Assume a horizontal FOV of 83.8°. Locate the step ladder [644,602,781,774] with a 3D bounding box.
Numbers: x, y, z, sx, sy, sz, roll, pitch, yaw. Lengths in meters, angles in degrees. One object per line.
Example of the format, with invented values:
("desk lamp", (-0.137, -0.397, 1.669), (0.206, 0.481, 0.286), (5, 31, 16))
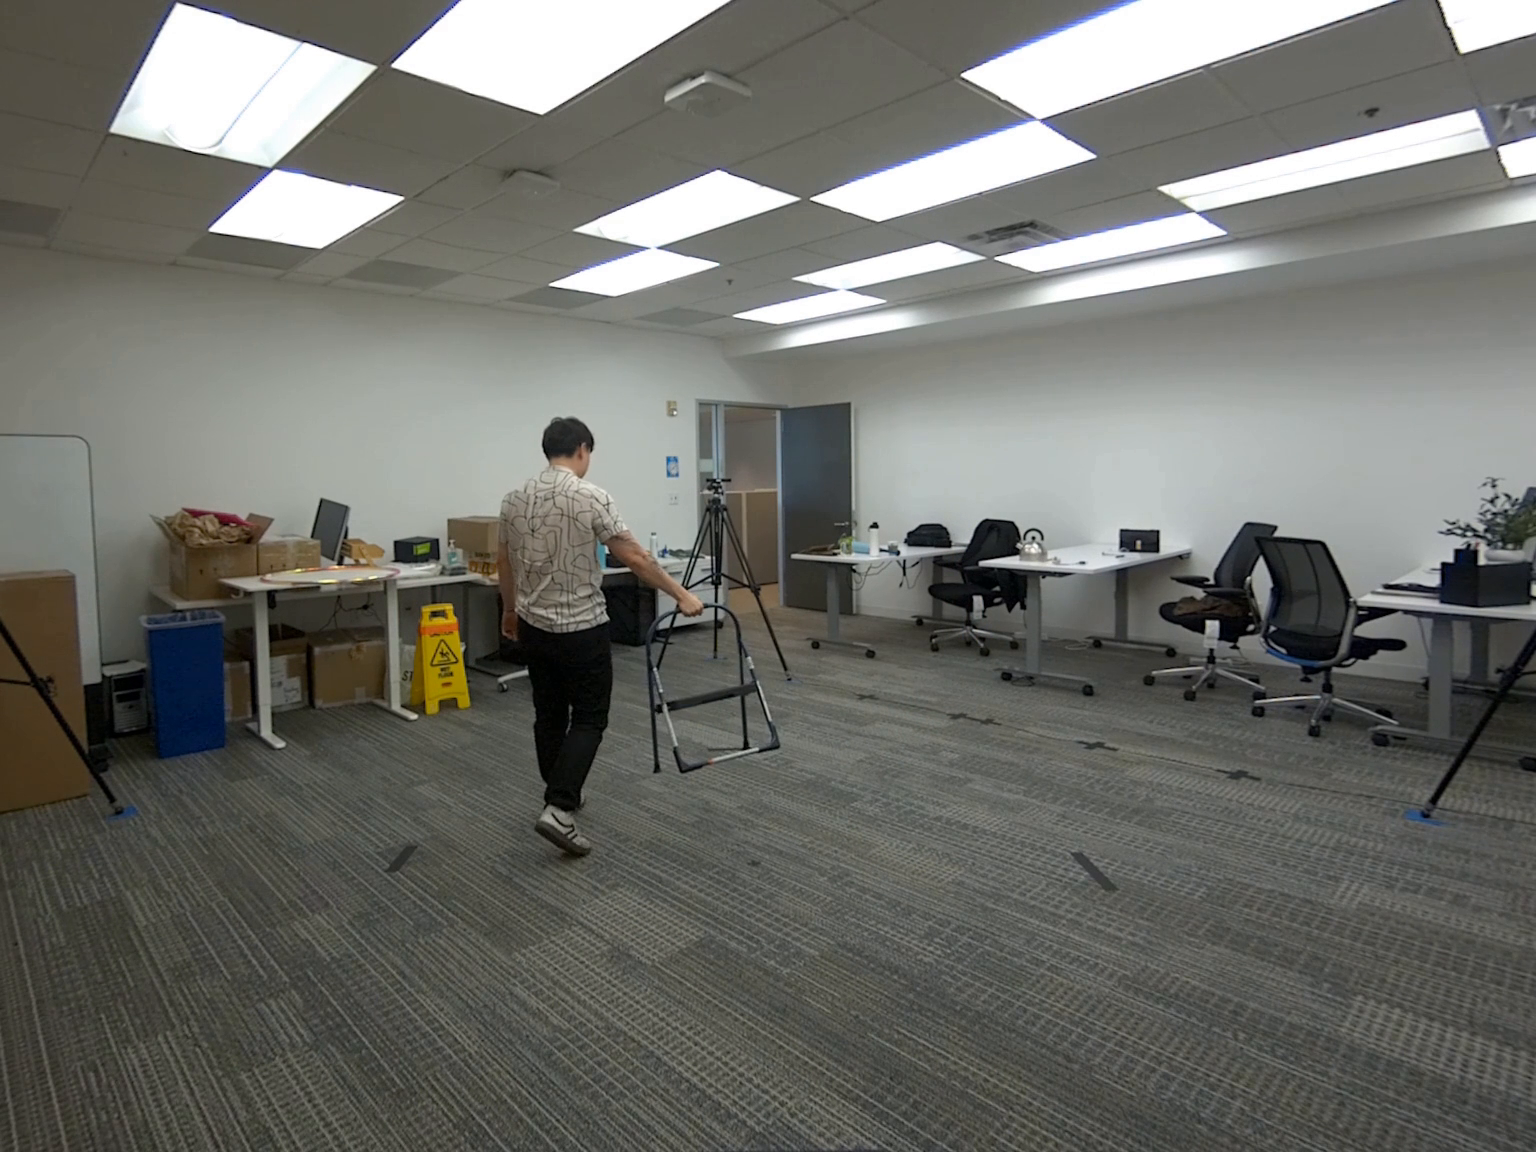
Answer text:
("step ladder", (-0.271, 0.425, 3.384), (0.422, 0.612, 0.352), (-9, -9, -25))
